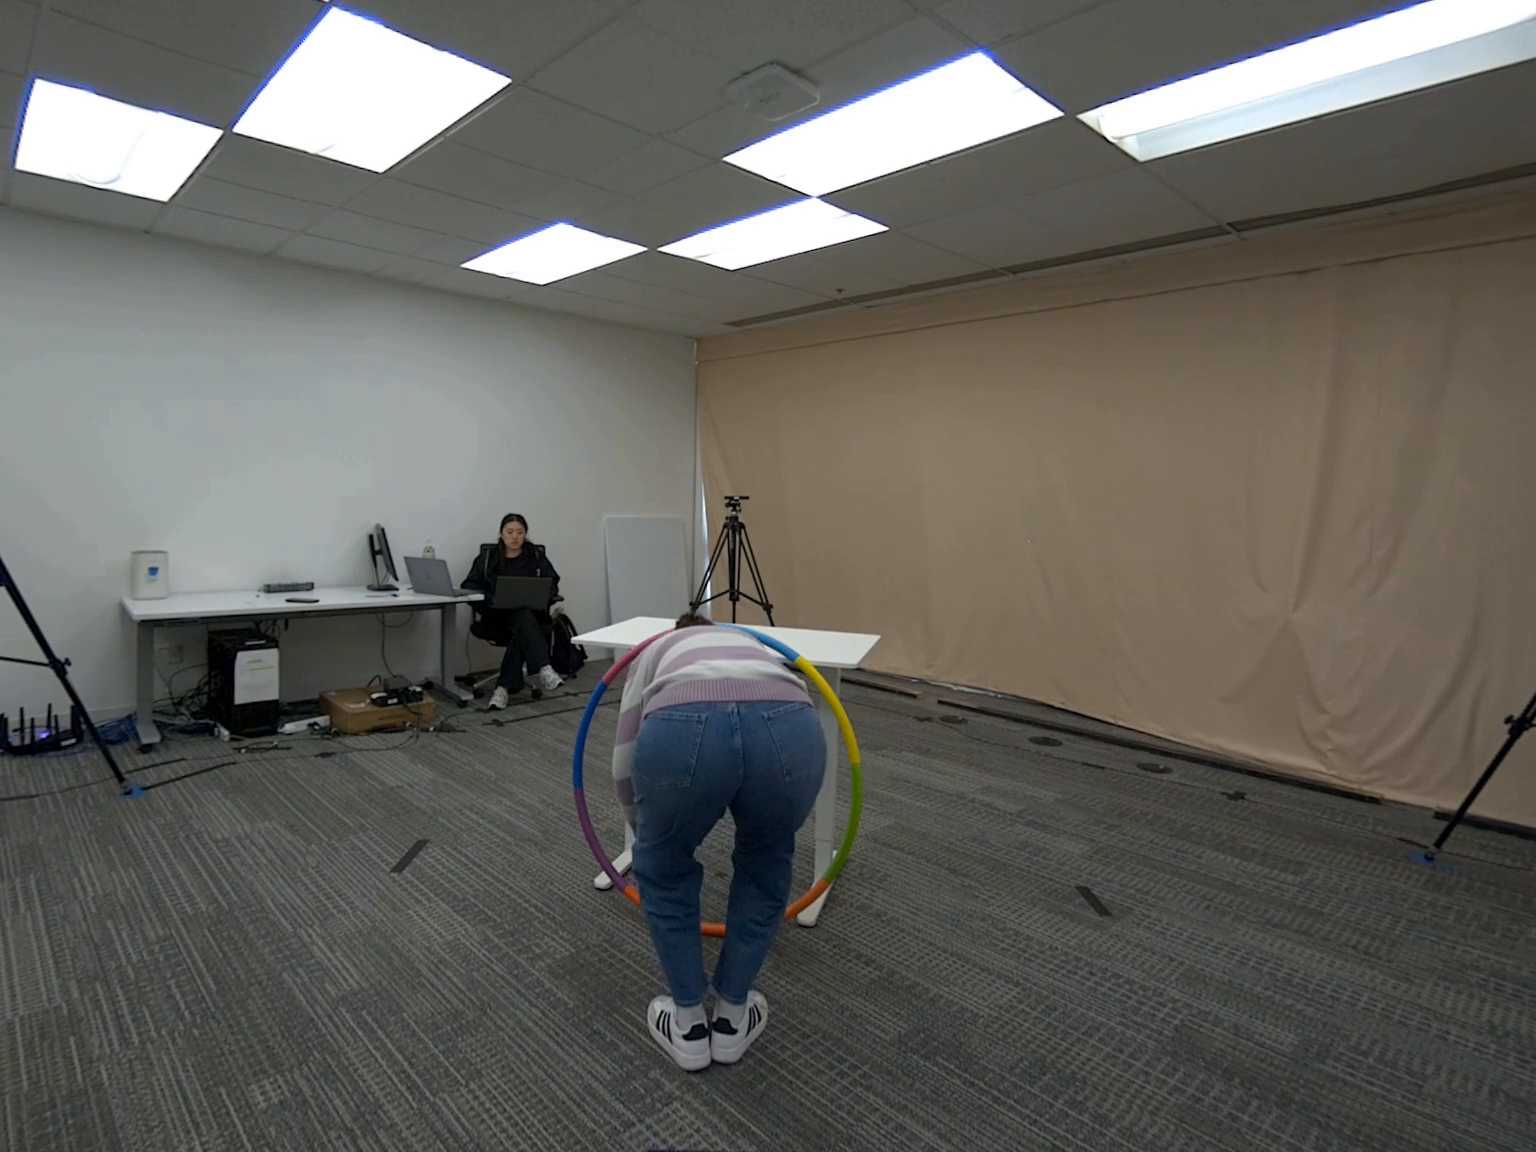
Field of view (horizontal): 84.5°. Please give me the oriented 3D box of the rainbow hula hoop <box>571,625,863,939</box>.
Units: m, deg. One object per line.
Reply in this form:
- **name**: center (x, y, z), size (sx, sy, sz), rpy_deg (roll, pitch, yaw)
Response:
- **rainbow hula hoop**: center (-0.201, 0.658, 2.719), size (0.992, 0.981, 0.035), rpy_deg (2, -4, 17)
